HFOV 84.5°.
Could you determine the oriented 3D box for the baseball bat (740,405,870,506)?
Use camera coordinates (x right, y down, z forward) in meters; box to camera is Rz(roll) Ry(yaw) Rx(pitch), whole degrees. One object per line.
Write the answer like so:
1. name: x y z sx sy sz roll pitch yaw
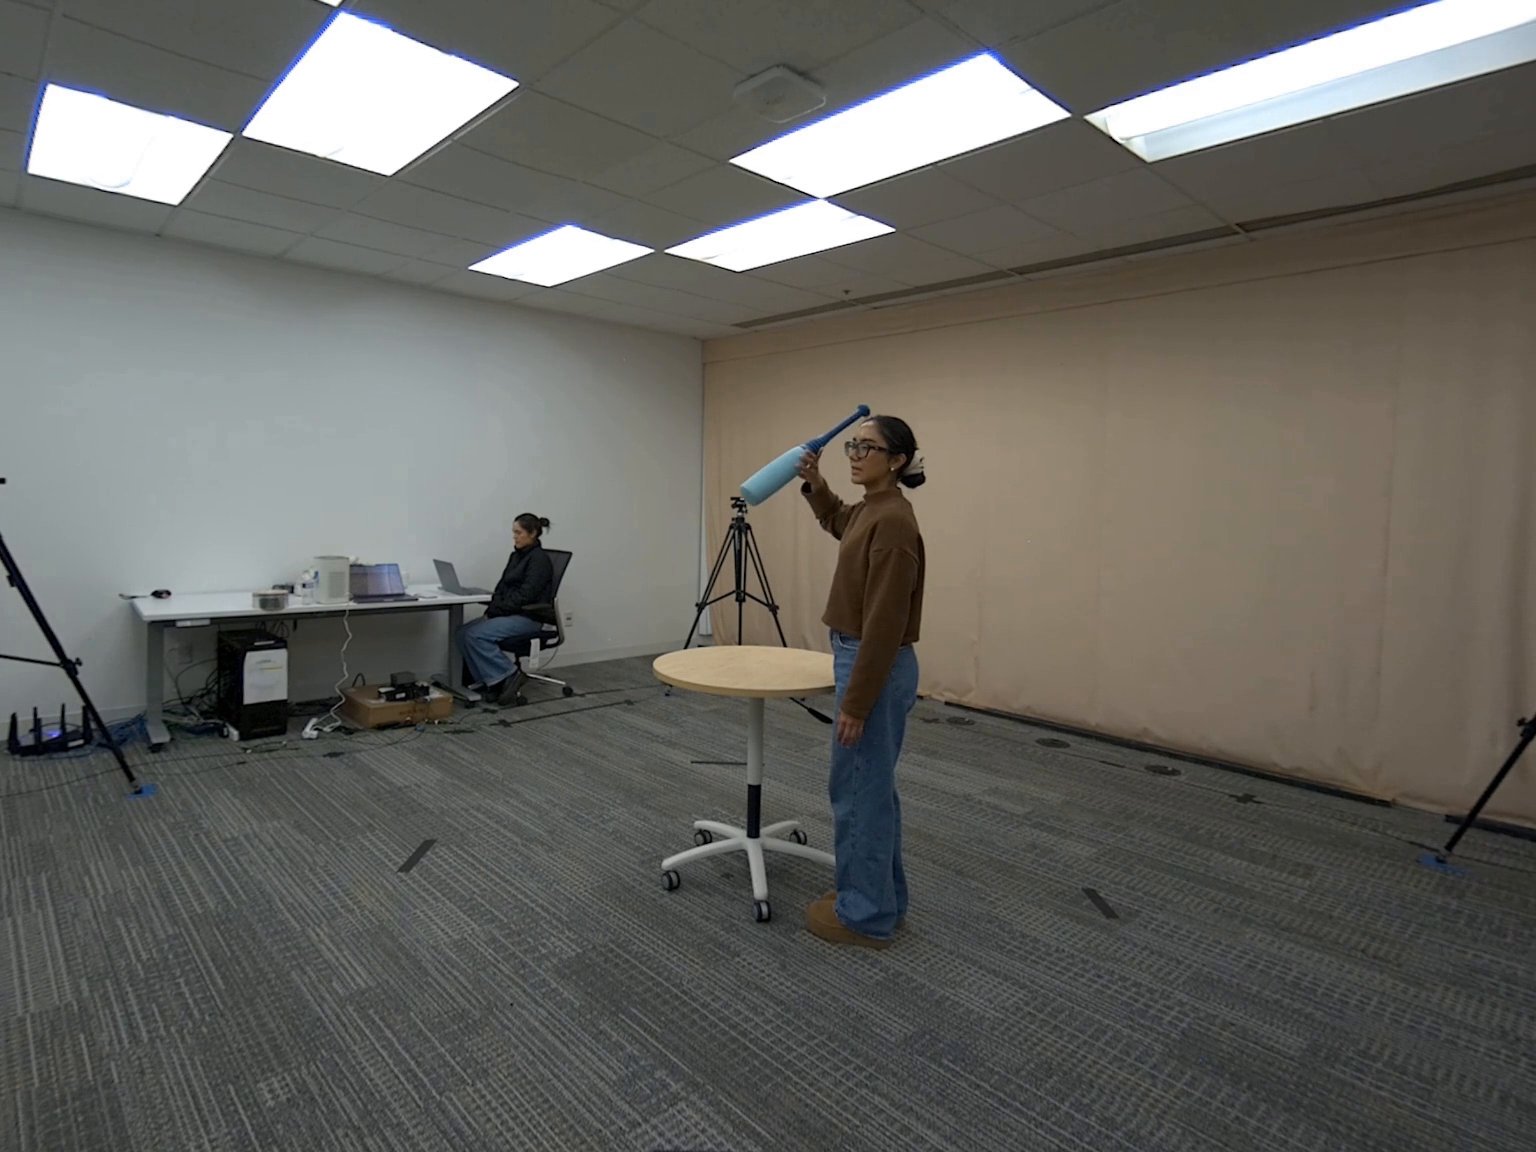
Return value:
1. baseball bat: 0.130 -0.414 2.780 0.541 0.087 0.091 -37 18 -16
